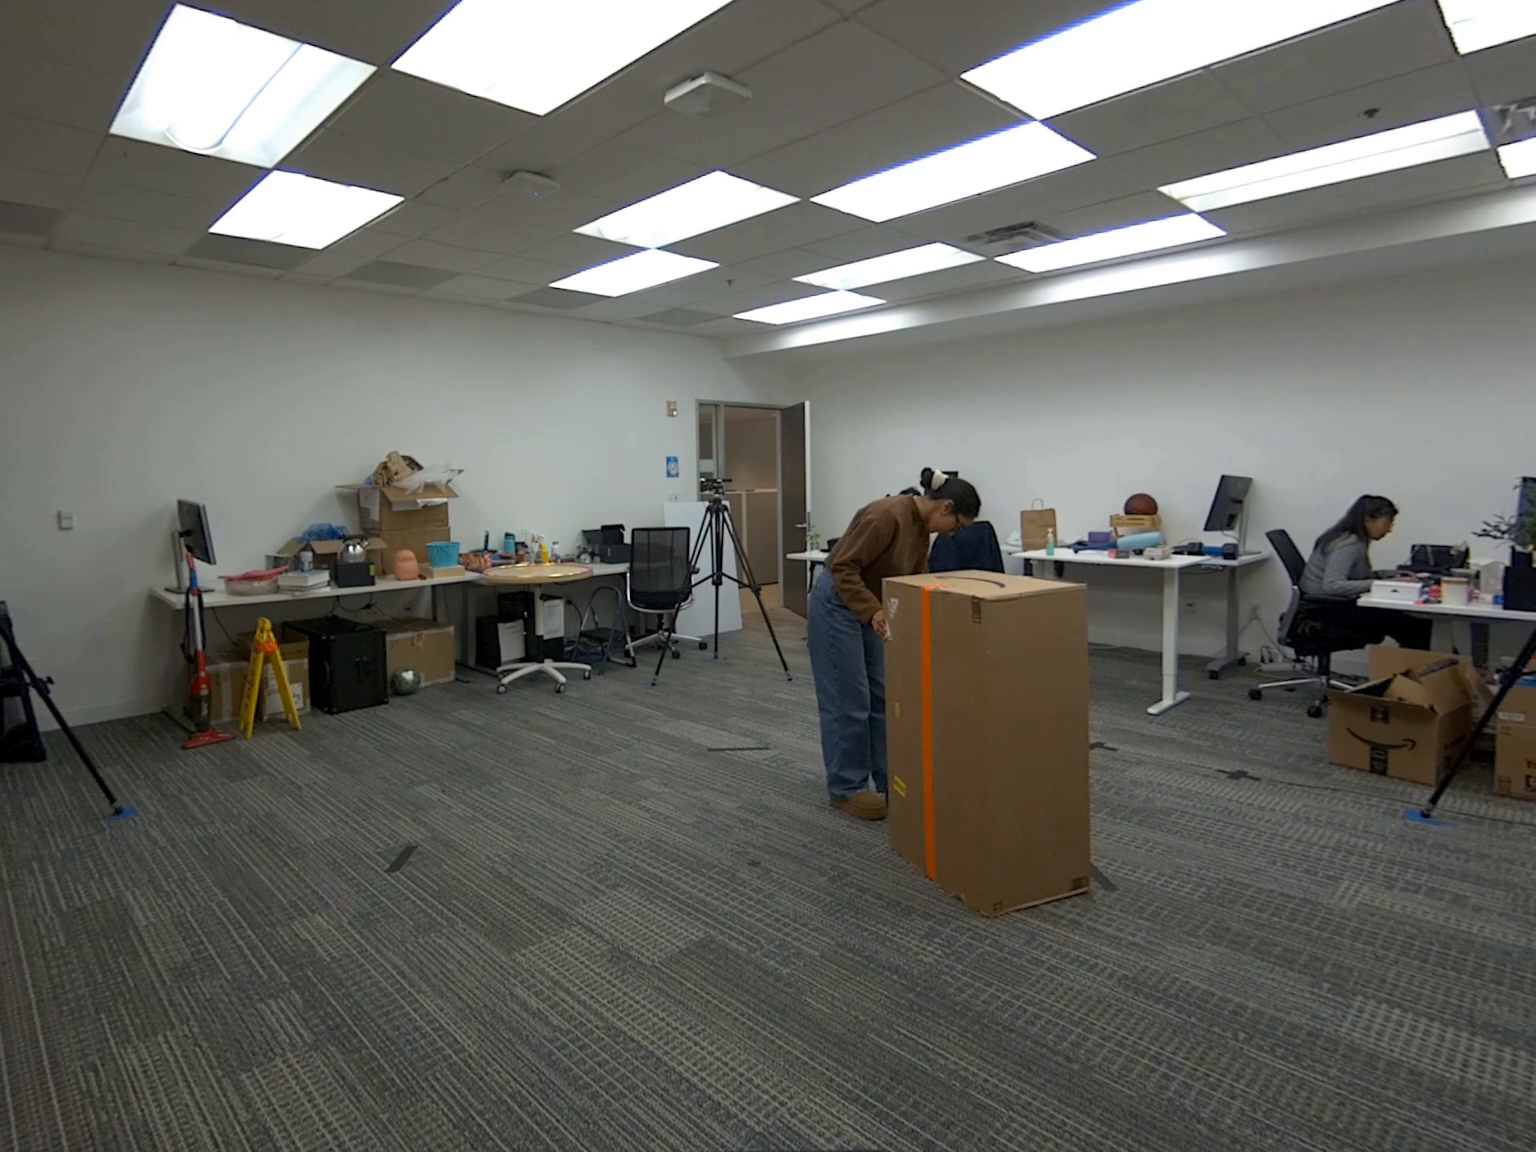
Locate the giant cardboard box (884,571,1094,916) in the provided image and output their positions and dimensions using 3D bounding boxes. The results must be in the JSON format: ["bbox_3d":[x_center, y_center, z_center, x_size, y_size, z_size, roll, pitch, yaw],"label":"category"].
[{"bbox_3d":[0.748,0.534,2.987,0.418,1.021,0.591,-4,6,-23],"label":"giant cardboard box"}]
